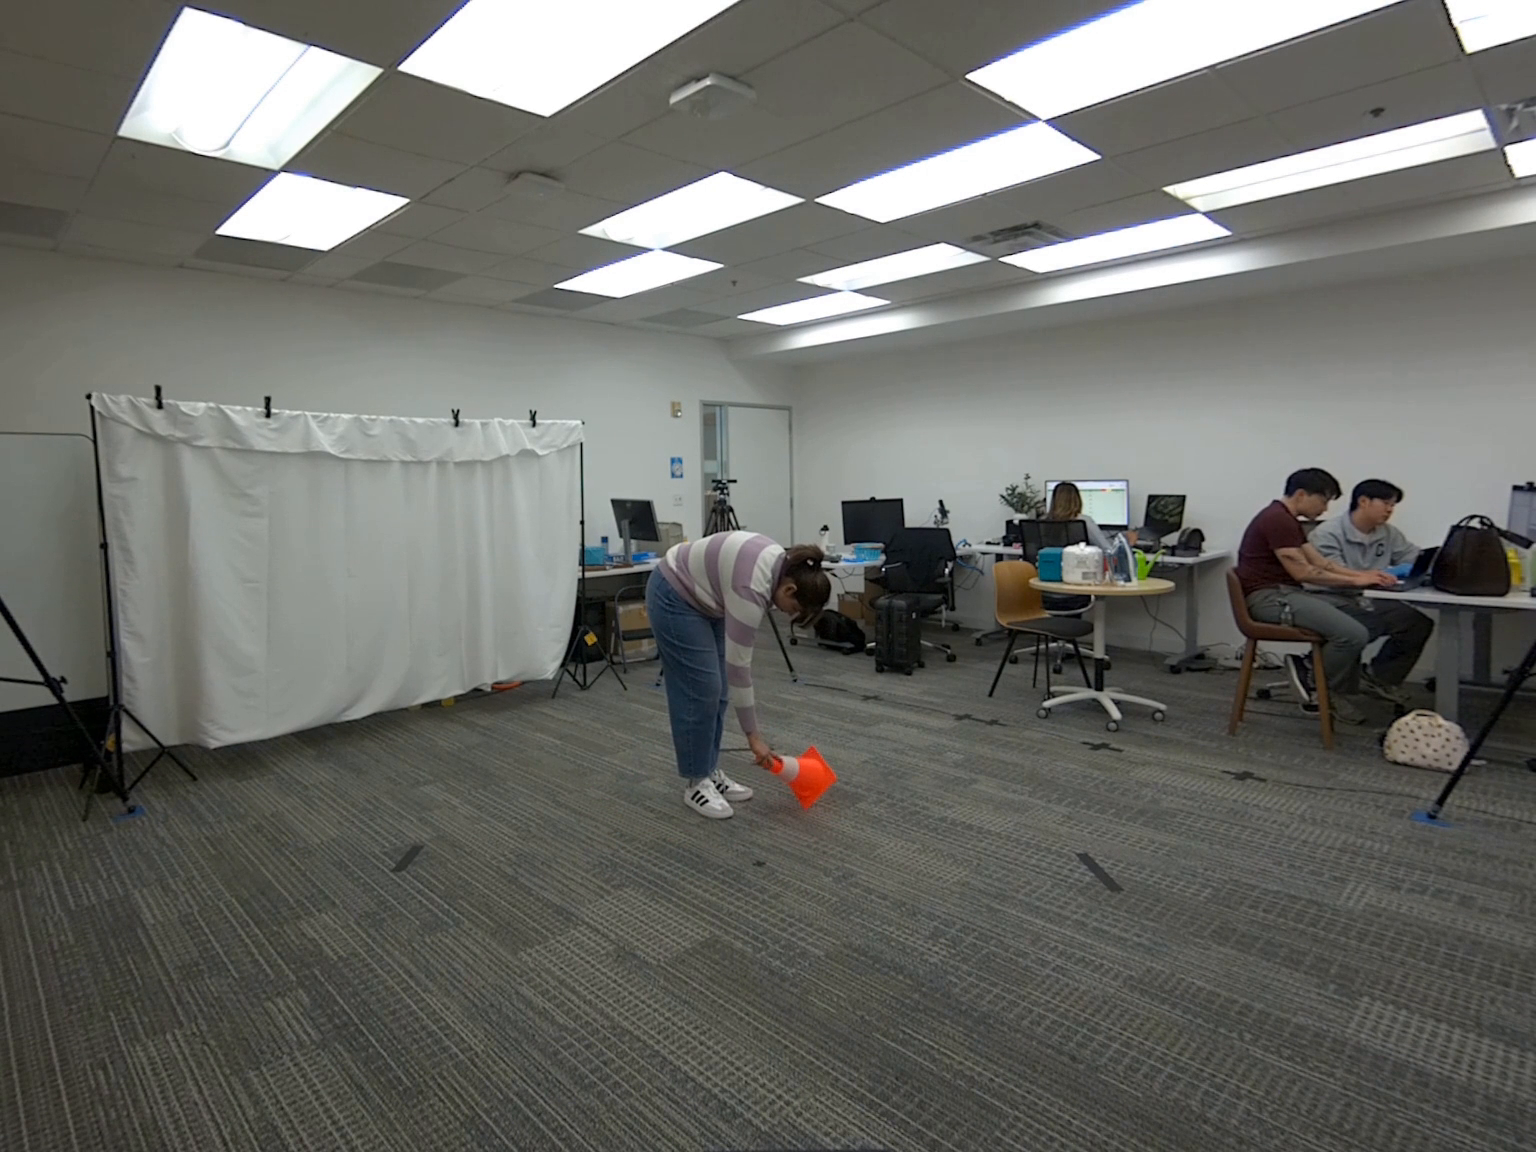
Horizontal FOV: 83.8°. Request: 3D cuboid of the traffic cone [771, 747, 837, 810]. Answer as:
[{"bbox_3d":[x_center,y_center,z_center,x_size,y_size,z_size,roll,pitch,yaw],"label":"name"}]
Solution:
[{"bbox_3d":[0.074,0.788,3.529,0.369,0.205,0.211,35,11,-47],"label":"traffic cone"}]
